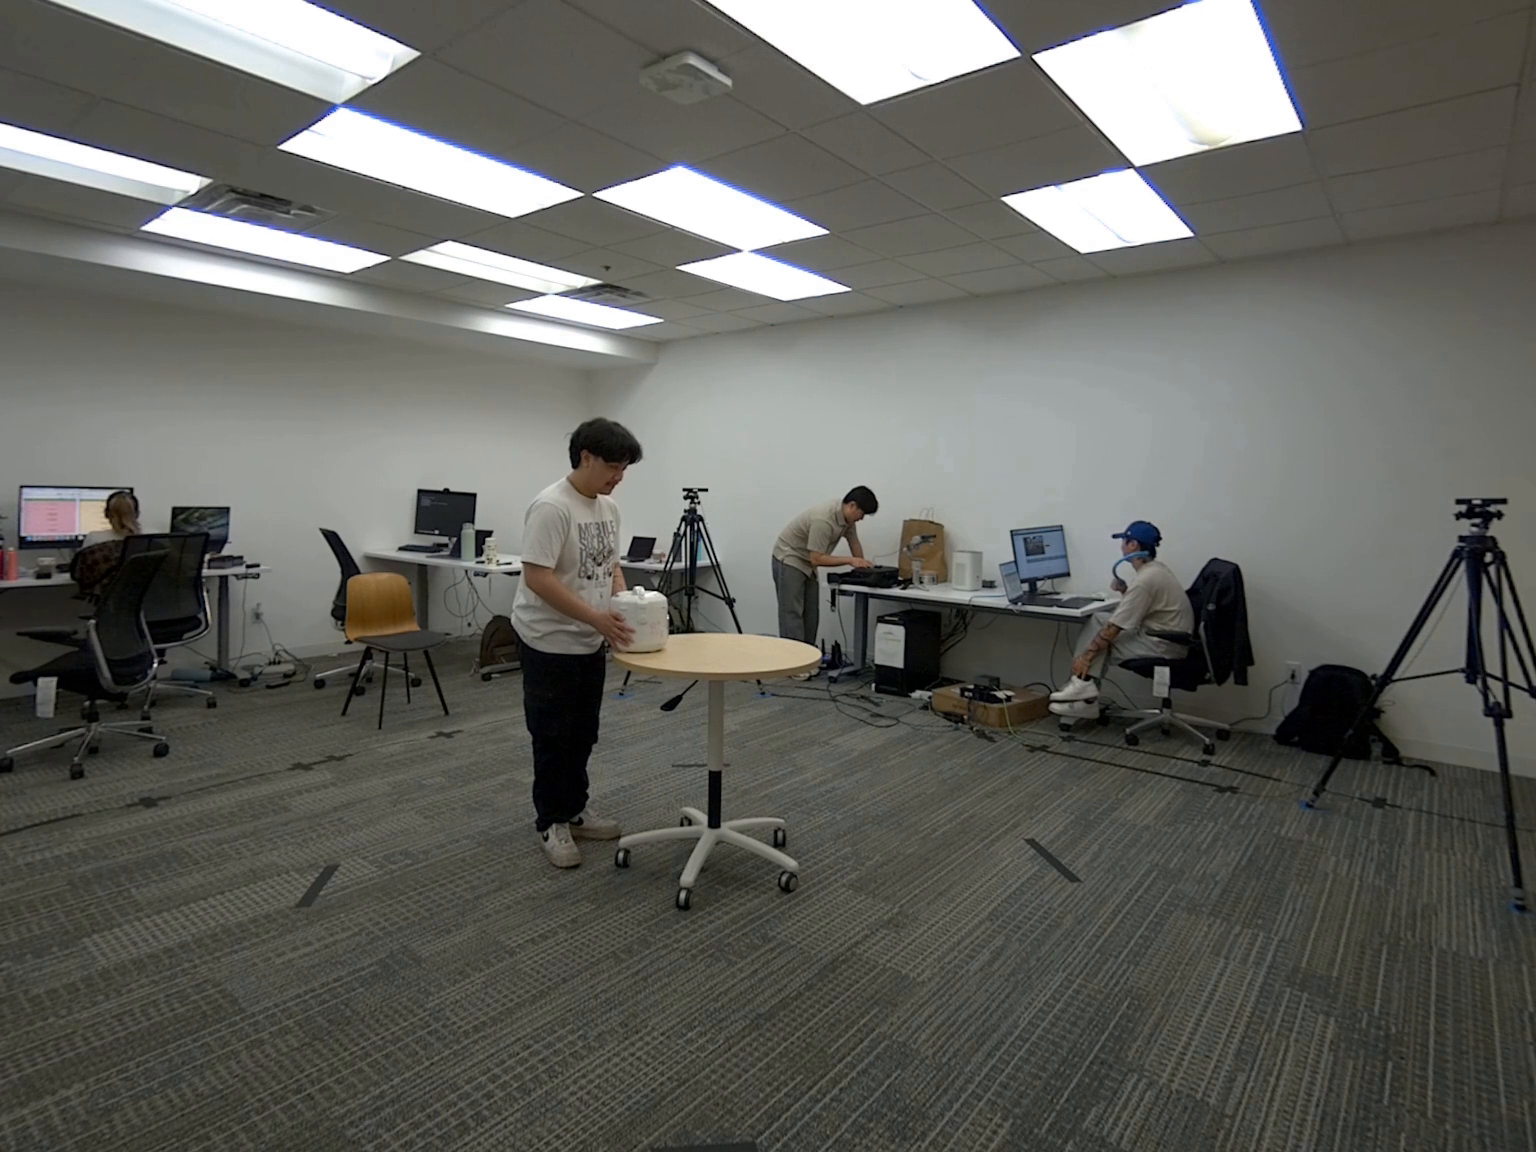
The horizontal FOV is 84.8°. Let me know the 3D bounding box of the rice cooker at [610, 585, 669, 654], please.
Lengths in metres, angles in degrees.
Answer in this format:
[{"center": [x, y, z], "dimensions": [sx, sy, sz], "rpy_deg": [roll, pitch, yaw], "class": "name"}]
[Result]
[{"center": [-0.486, 0.156, 3.122], "dimensions": [0.214, 0.232, 0.225], "rpy_deg": [-2, 4, -15], "class": "rice cooker"}]
